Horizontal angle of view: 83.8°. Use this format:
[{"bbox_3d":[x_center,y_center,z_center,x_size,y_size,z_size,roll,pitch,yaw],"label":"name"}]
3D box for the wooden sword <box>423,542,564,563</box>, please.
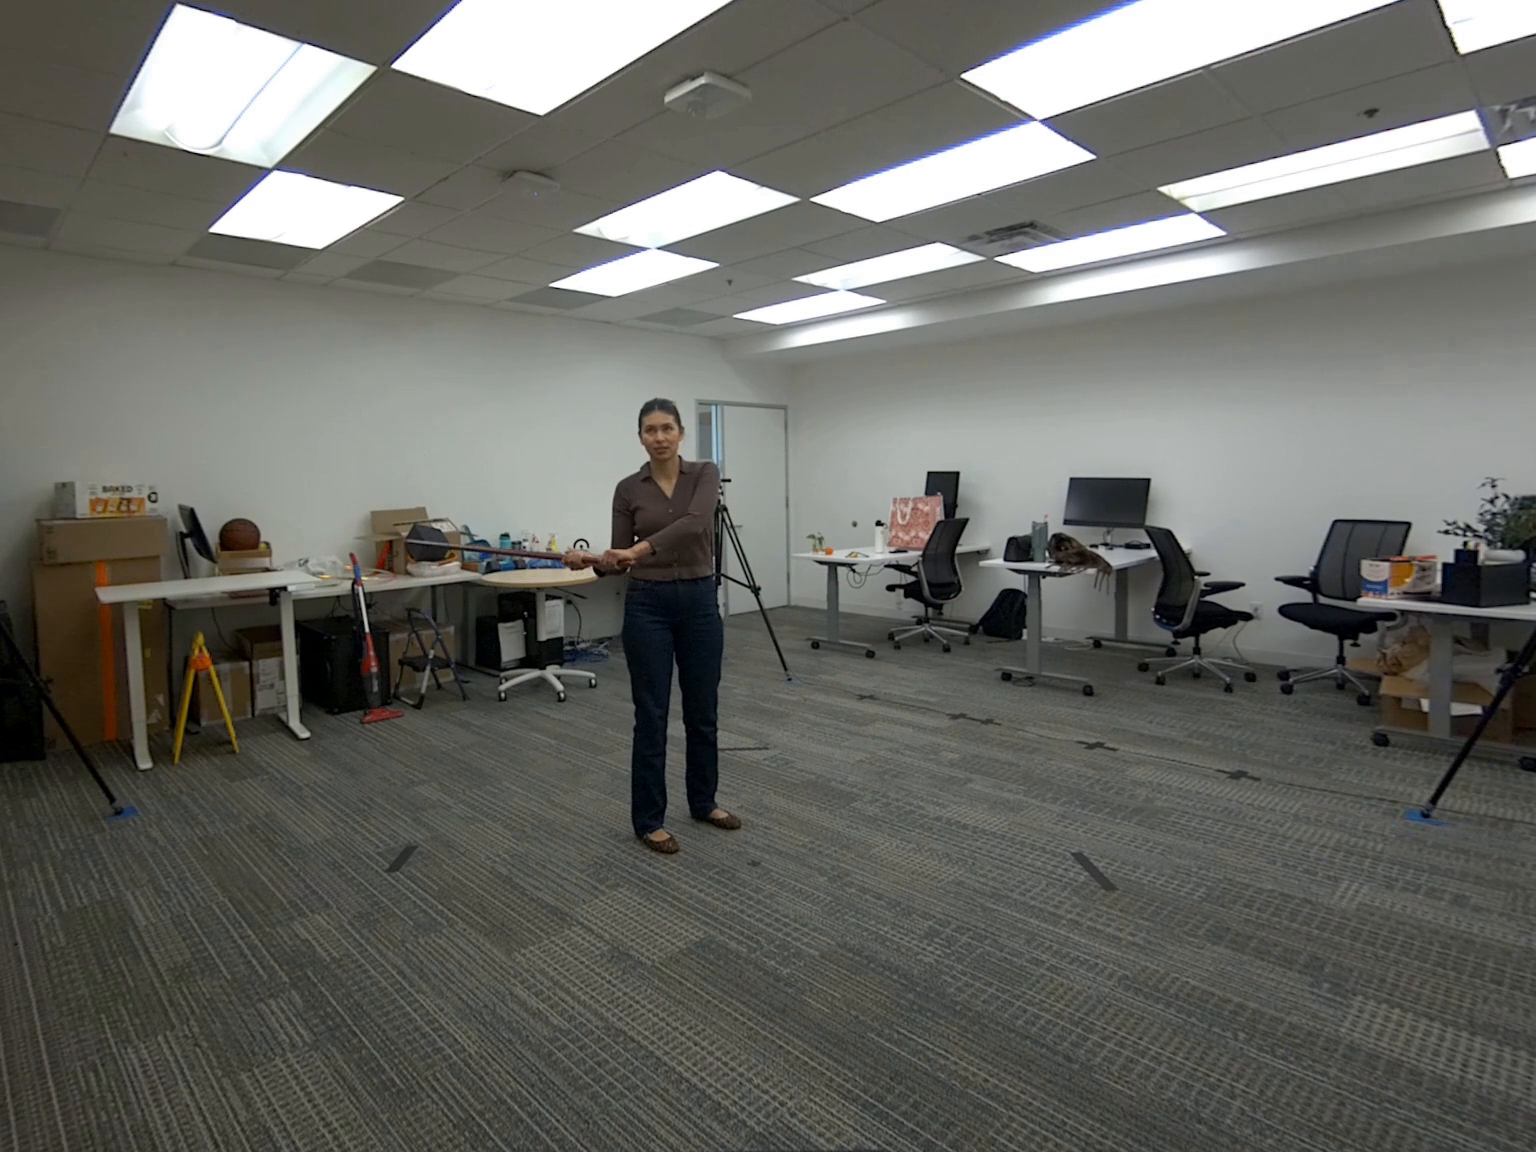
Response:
[{"bbox_3d":[-1.047,-0.100,3.327,1.055,0.023,0.051,6,45,34],"label":"wooden sword"}]
